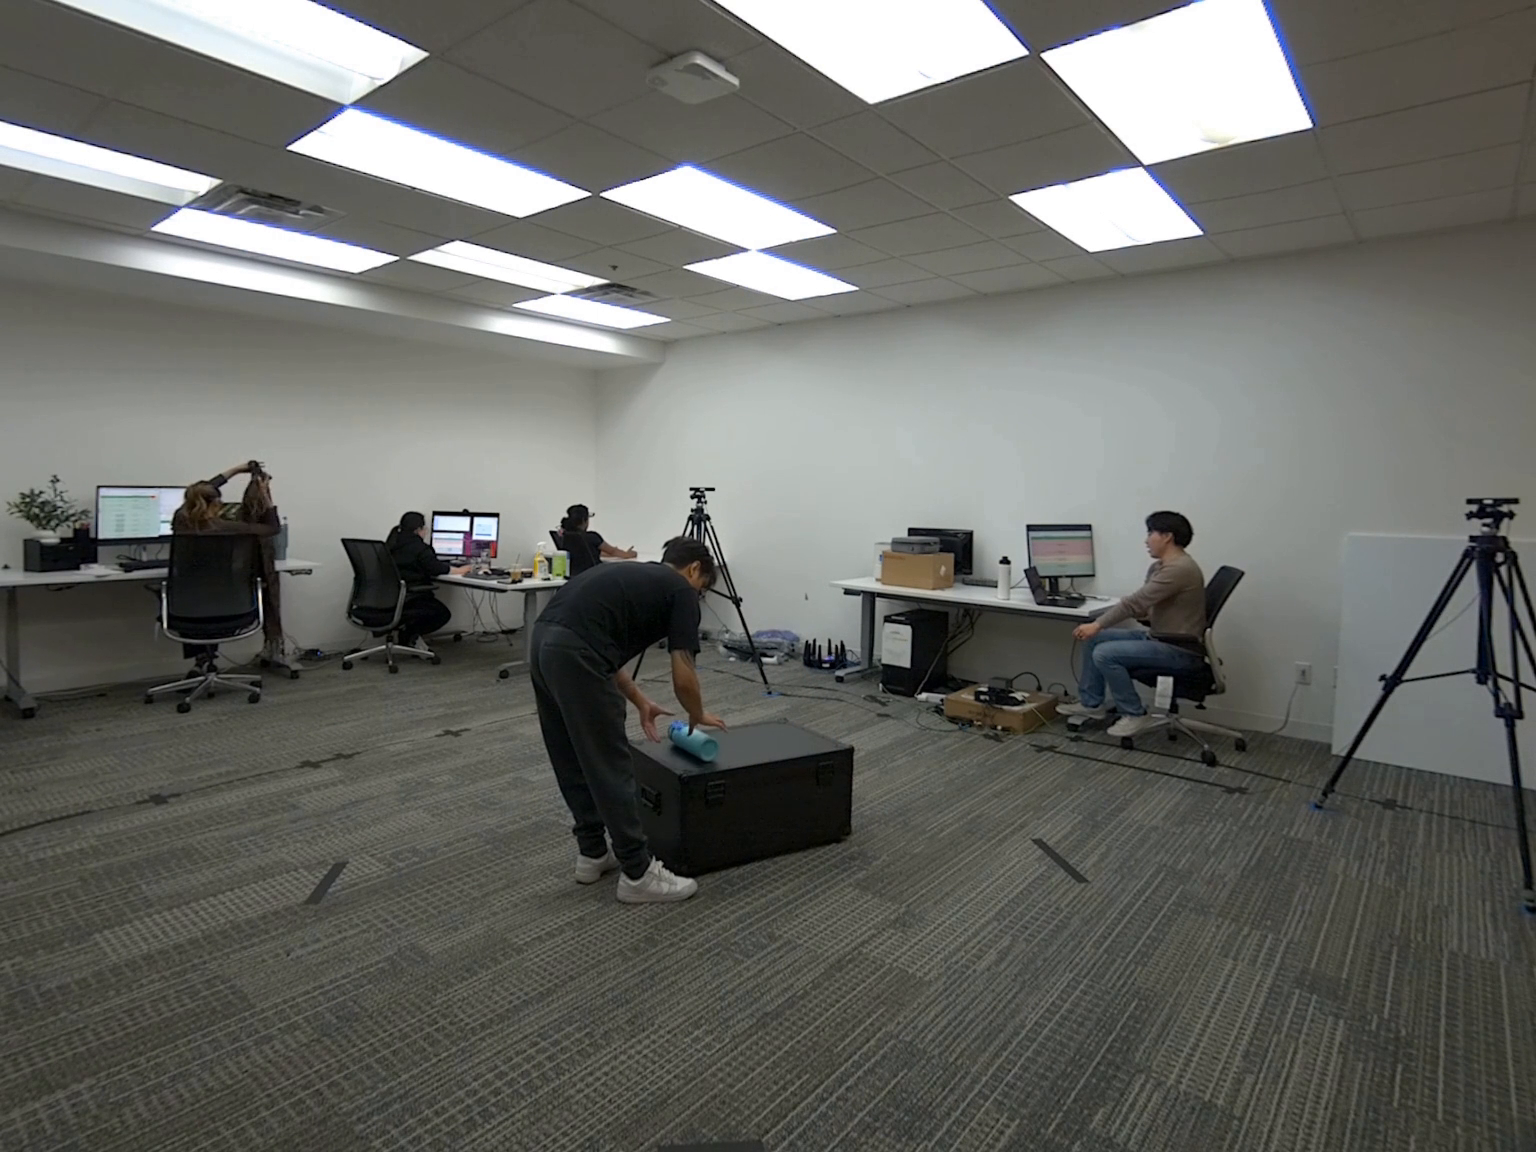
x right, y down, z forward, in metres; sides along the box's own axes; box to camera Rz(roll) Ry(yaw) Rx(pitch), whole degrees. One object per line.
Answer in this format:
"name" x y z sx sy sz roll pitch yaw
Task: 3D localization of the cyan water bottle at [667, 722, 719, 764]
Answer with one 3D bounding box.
"cyan water bottle" -0.311 0.621 3.266 0.090 0.092 0.292 -1 6 -30
